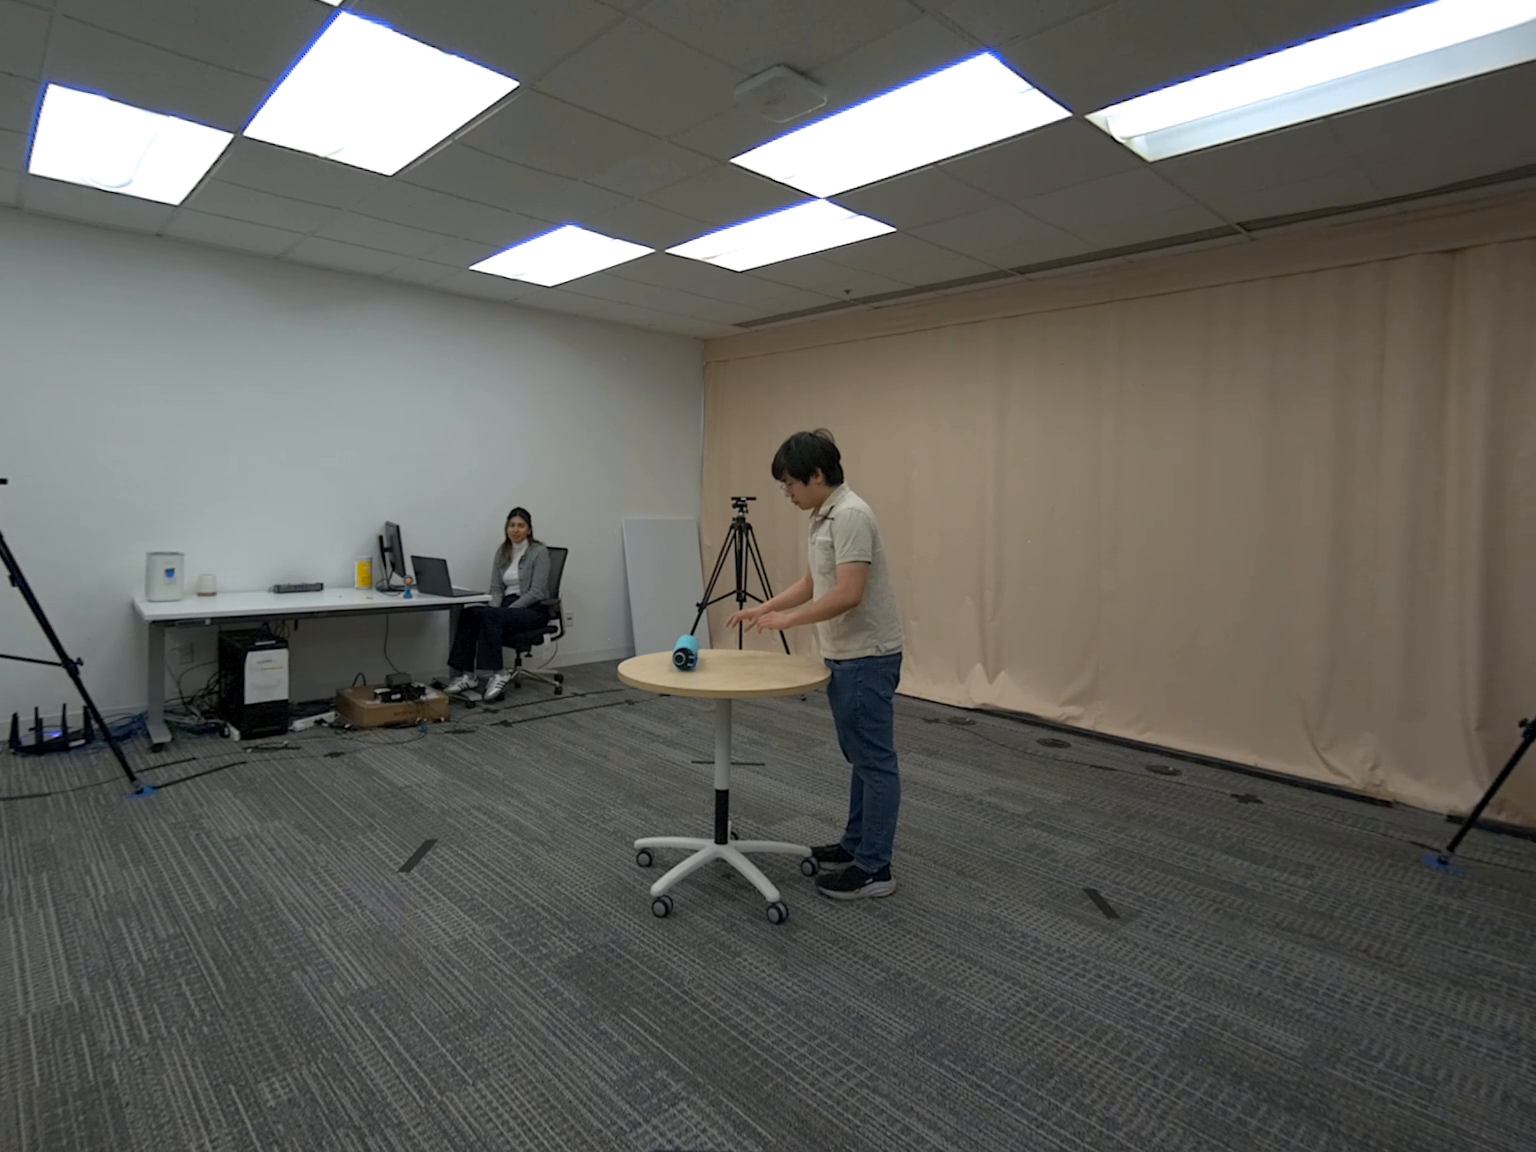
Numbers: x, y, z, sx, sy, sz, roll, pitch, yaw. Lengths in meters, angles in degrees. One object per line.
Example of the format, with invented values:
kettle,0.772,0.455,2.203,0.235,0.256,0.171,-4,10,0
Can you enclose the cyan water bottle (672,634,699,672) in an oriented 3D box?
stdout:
cyan water bottle,-0.299,0.278,3.057,0.092,0.092,0.285,1,5,-3
